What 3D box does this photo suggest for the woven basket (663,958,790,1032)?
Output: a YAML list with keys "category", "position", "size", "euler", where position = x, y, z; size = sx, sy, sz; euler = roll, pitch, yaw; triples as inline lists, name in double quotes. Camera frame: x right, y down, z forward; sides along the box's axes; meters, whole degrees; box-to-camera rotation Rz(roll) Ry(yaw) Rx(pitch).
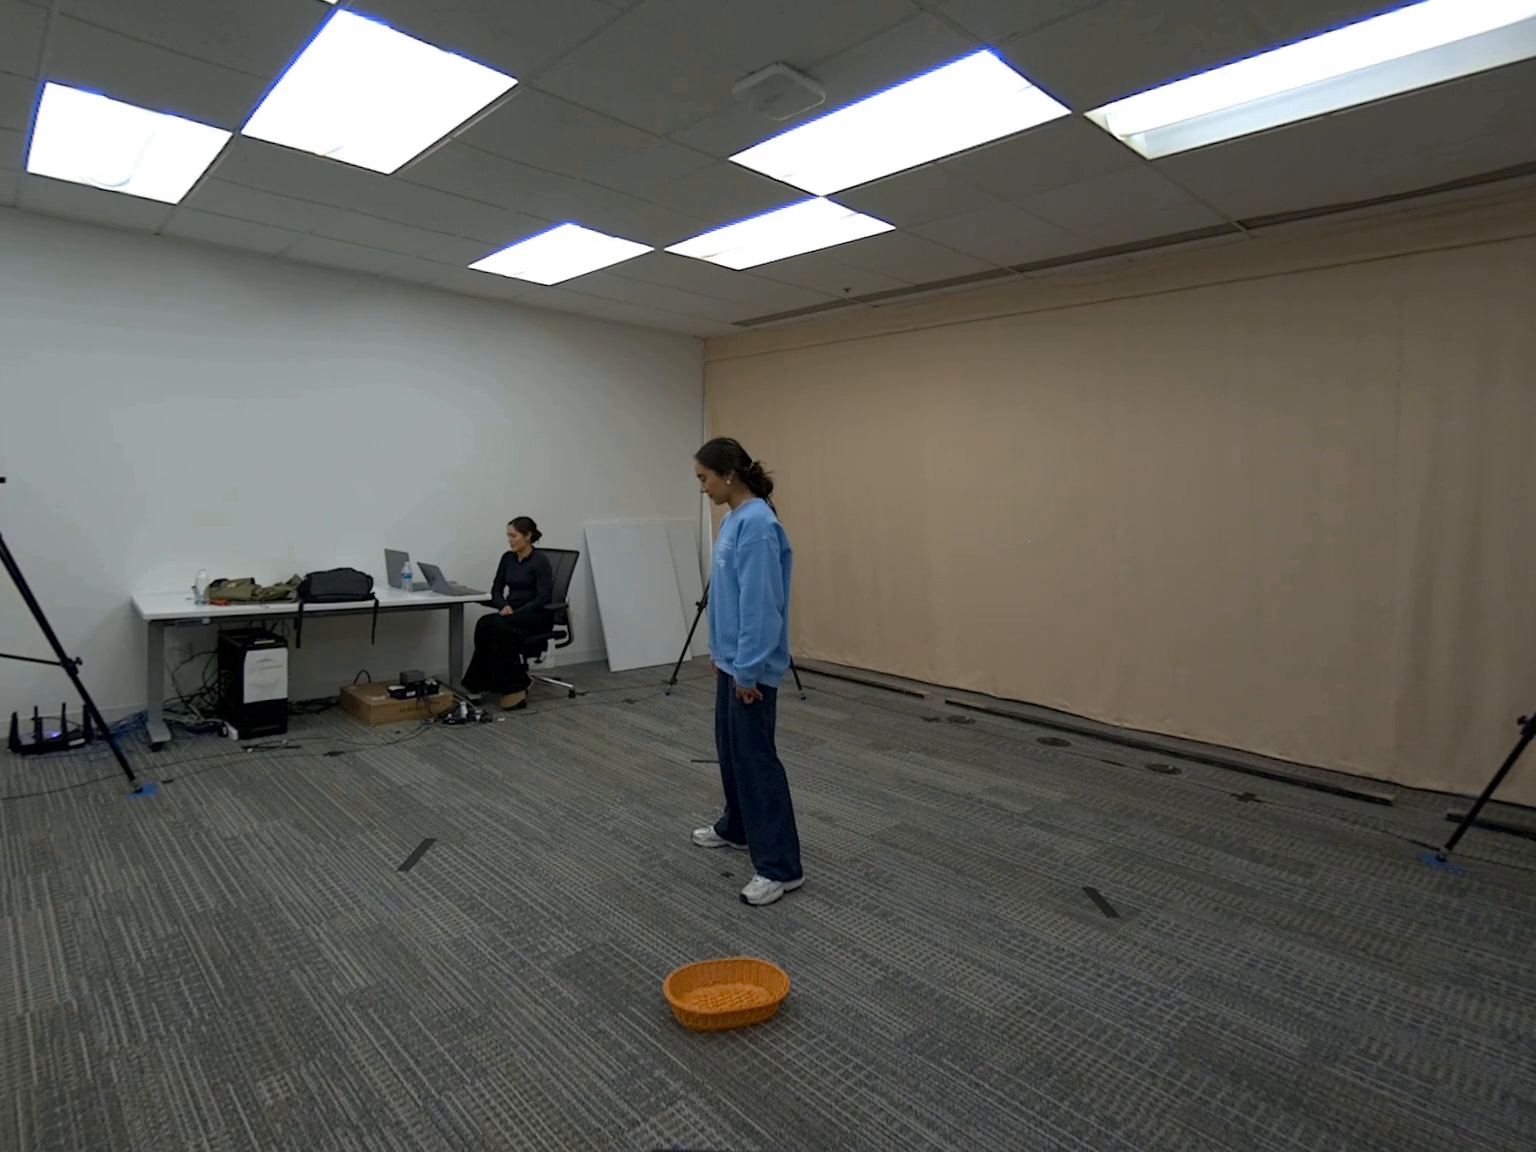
- category: "woven basket"
  position: [-0.123, 1.143, 2.291]
  size: [0.345, 0.073, 0.256]
  euler: [-1, 4, -19]
